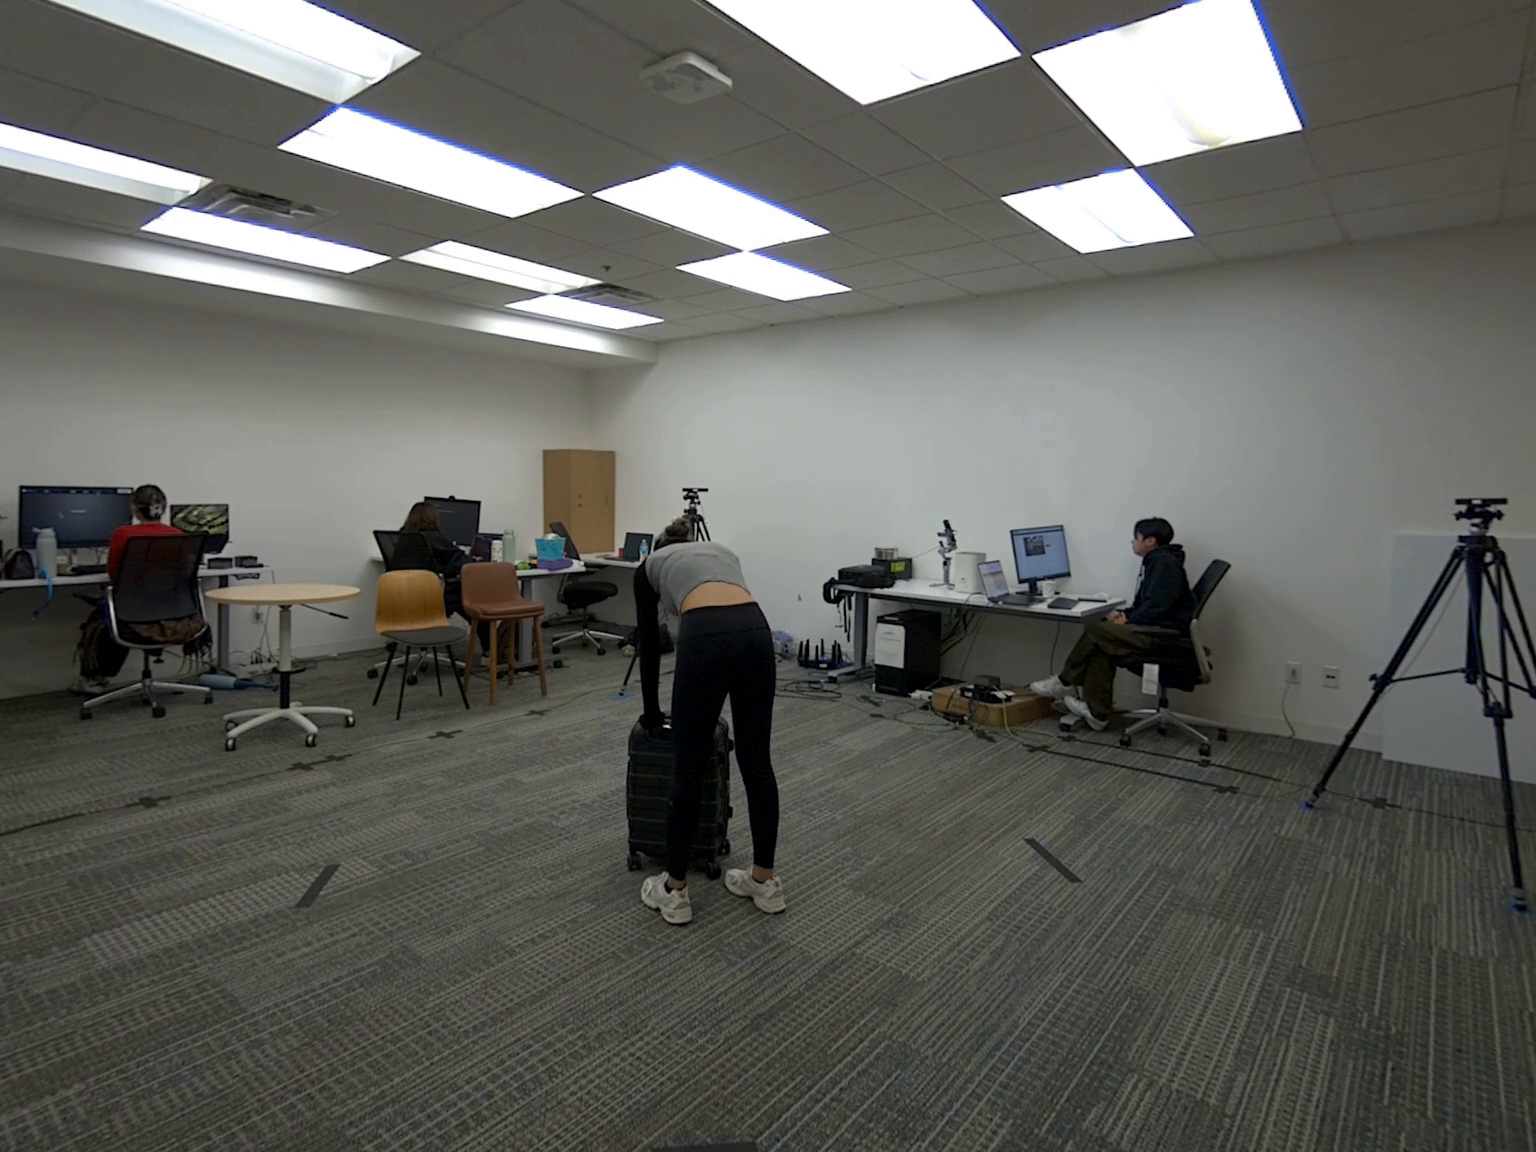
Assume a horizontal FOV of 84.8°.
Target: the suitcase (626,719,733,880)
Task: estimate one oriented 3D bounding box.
[{"bbox_3d":[-0.344,0.787,3.187,0.380,0.549,0.245,1,1,12],"label":"suitcase"}]
